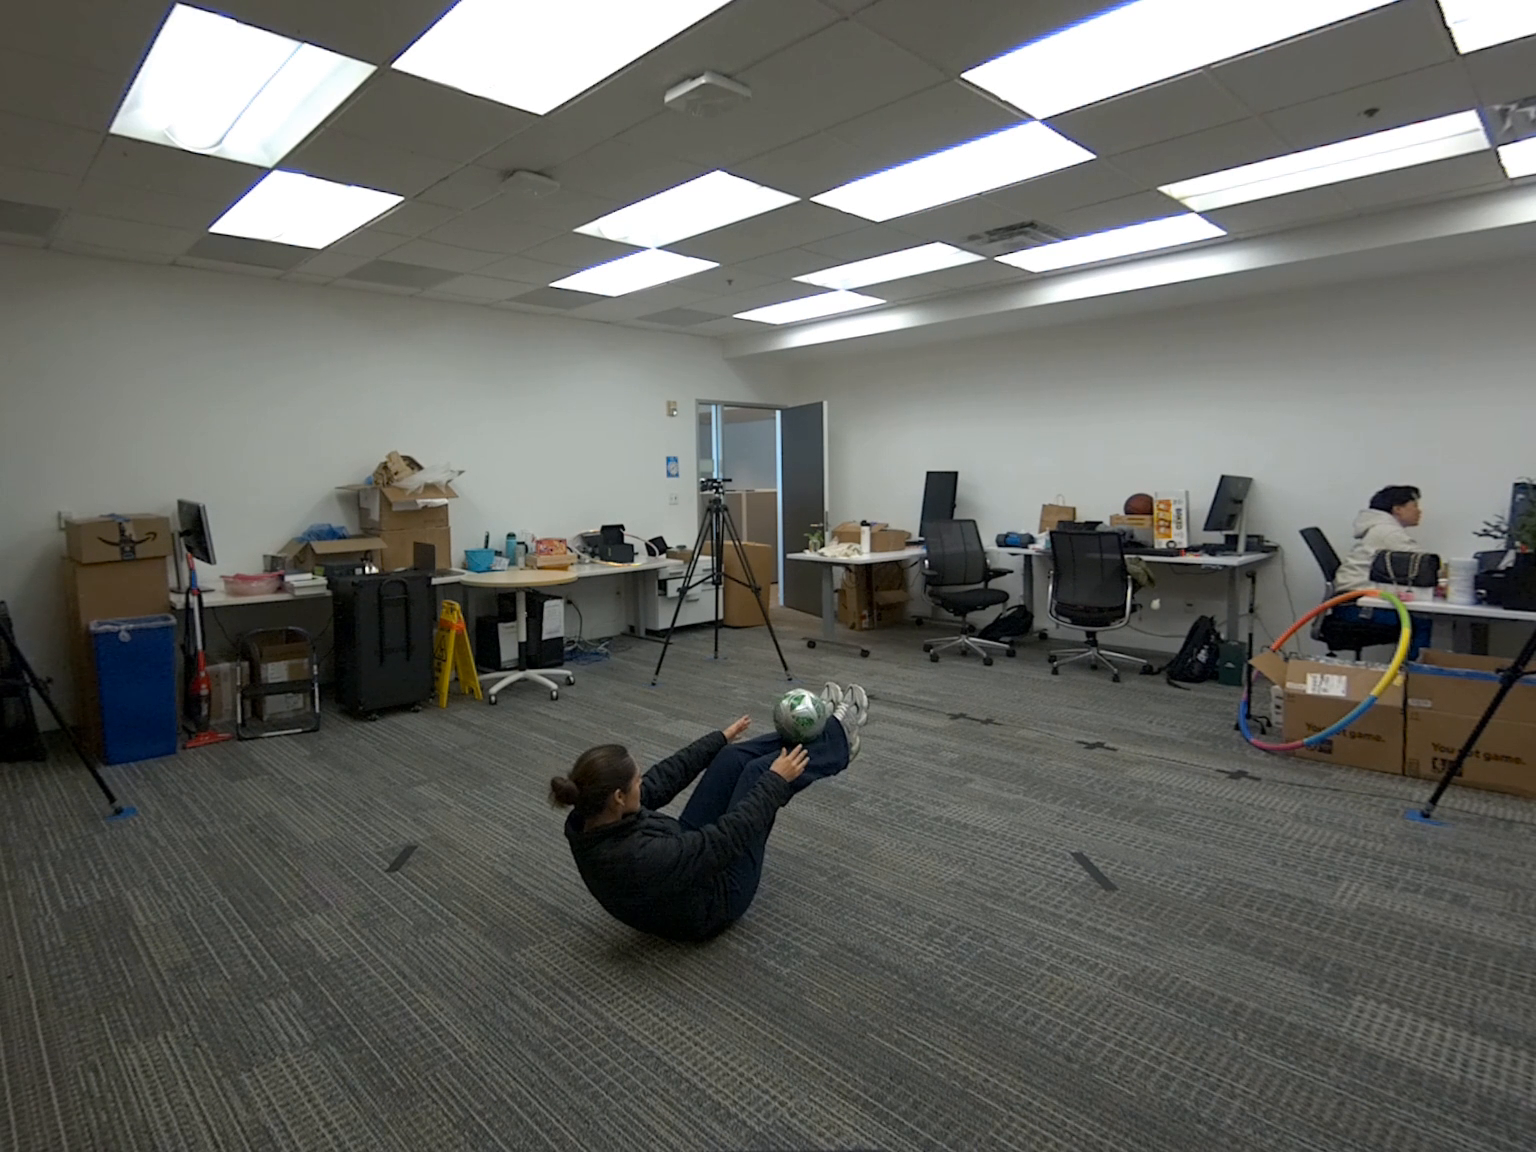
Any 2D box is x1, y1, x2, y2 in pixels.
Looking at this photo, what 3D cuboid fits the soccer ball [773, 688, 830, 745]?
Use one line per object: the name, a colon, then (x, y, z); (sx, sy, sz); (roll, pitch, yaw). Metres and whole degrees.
soccer ball: (0.110, 0.494, 2.975); (0.187, 0.187, 0.188); (0, 1, -2)
